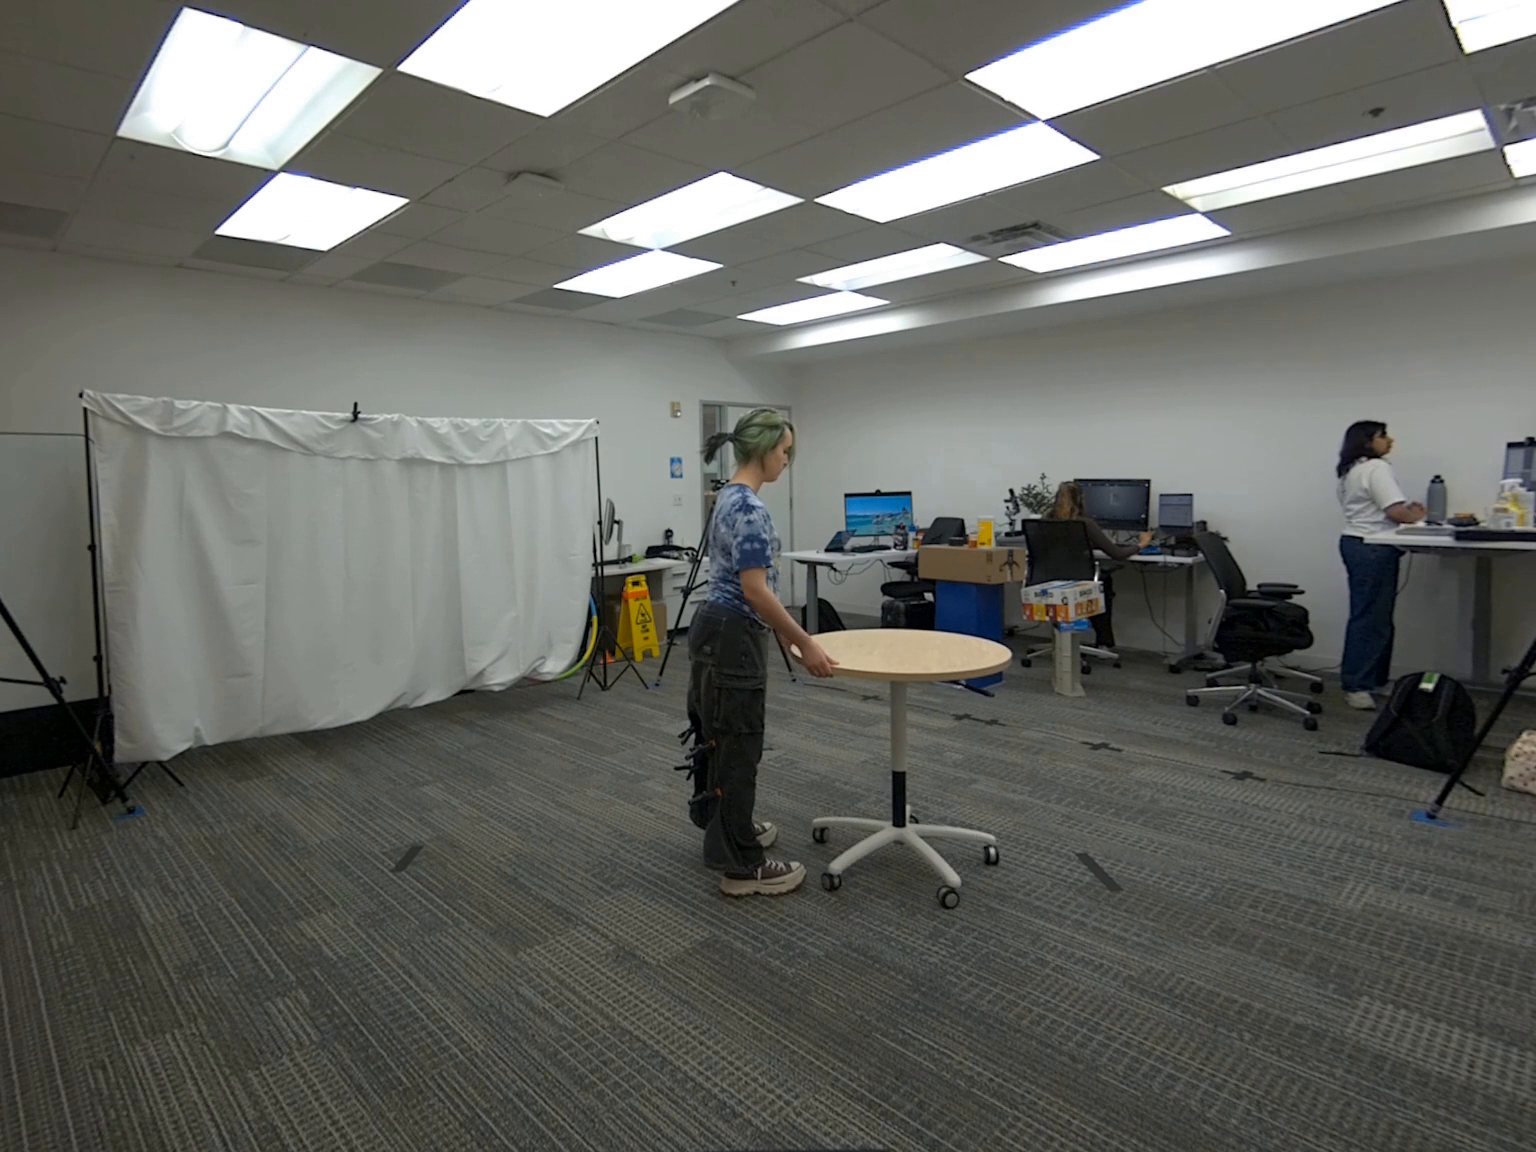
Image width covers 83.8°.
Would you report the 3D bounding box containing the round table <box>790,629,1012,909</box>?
[{"bbox_3d":[0.476,0.650,3.069,0.763,0.791,0.768,-1,5,-2],"label":"round table"}]
